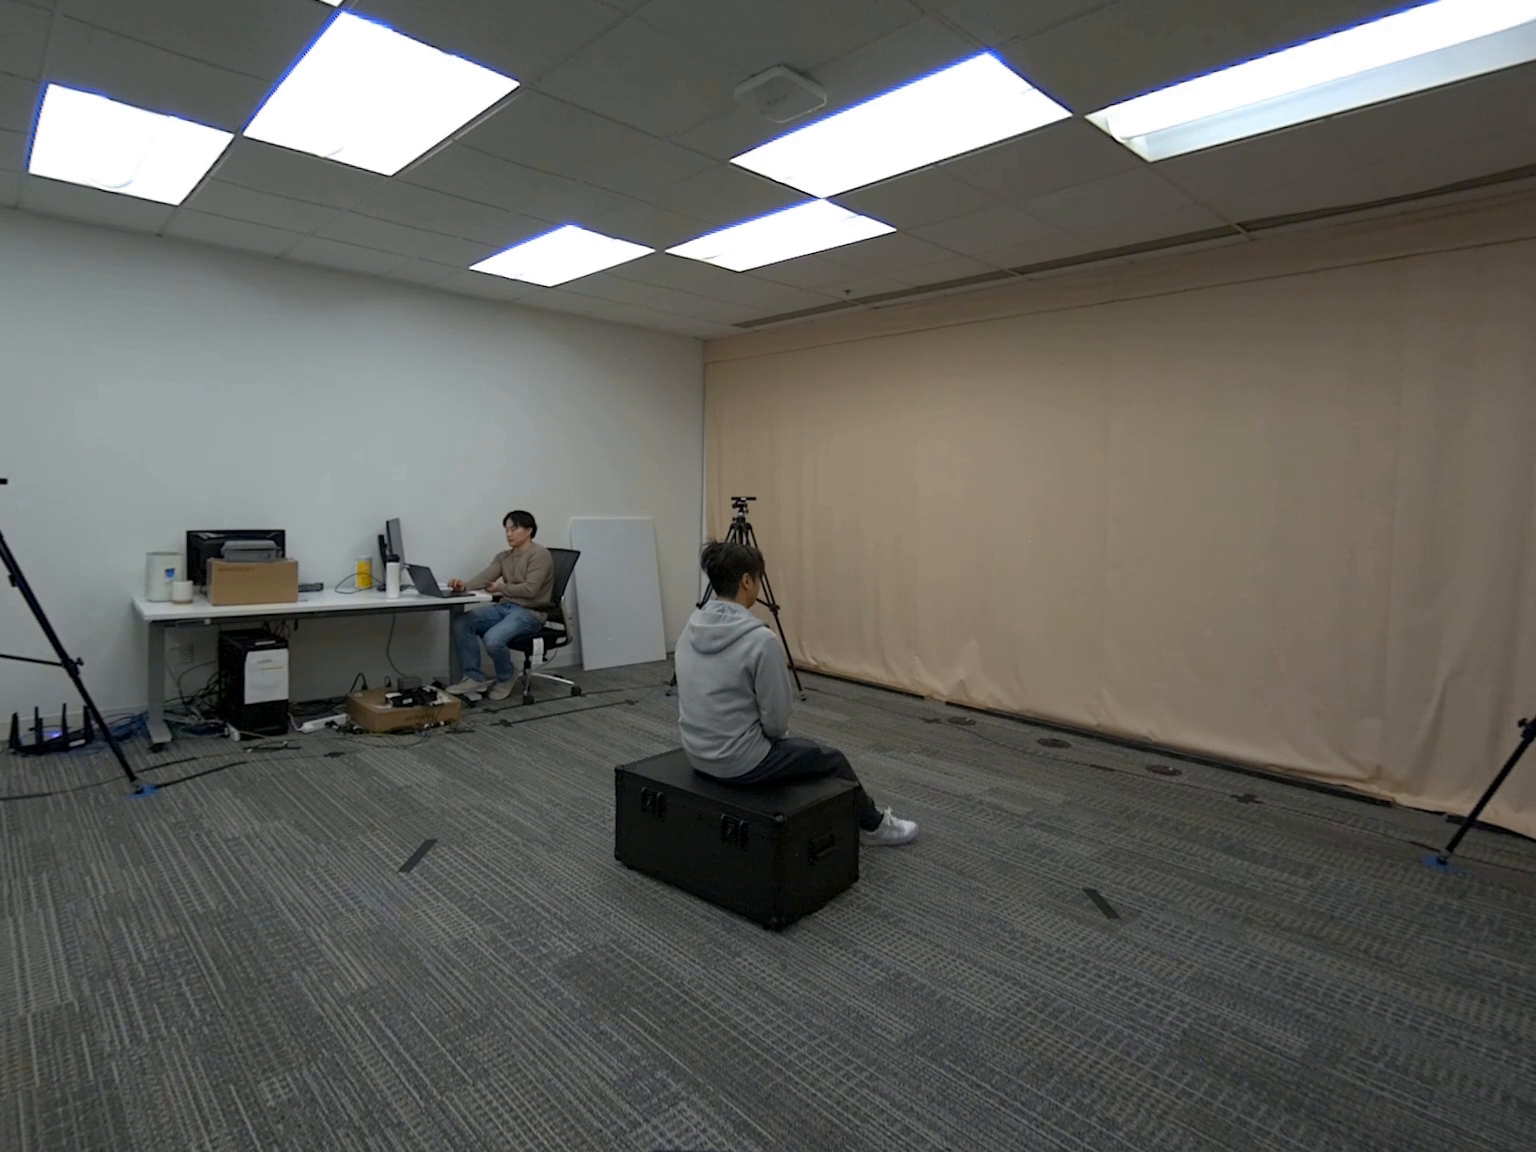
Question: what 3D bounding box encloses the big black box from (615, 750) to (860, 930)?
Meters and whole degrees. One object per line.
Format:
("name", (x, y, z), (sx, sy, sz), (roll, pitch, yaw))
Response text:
("big black box", (-0.110, 0.927, 3.073), (0.883, 0.395, 0.510), (5, 6, 40))
